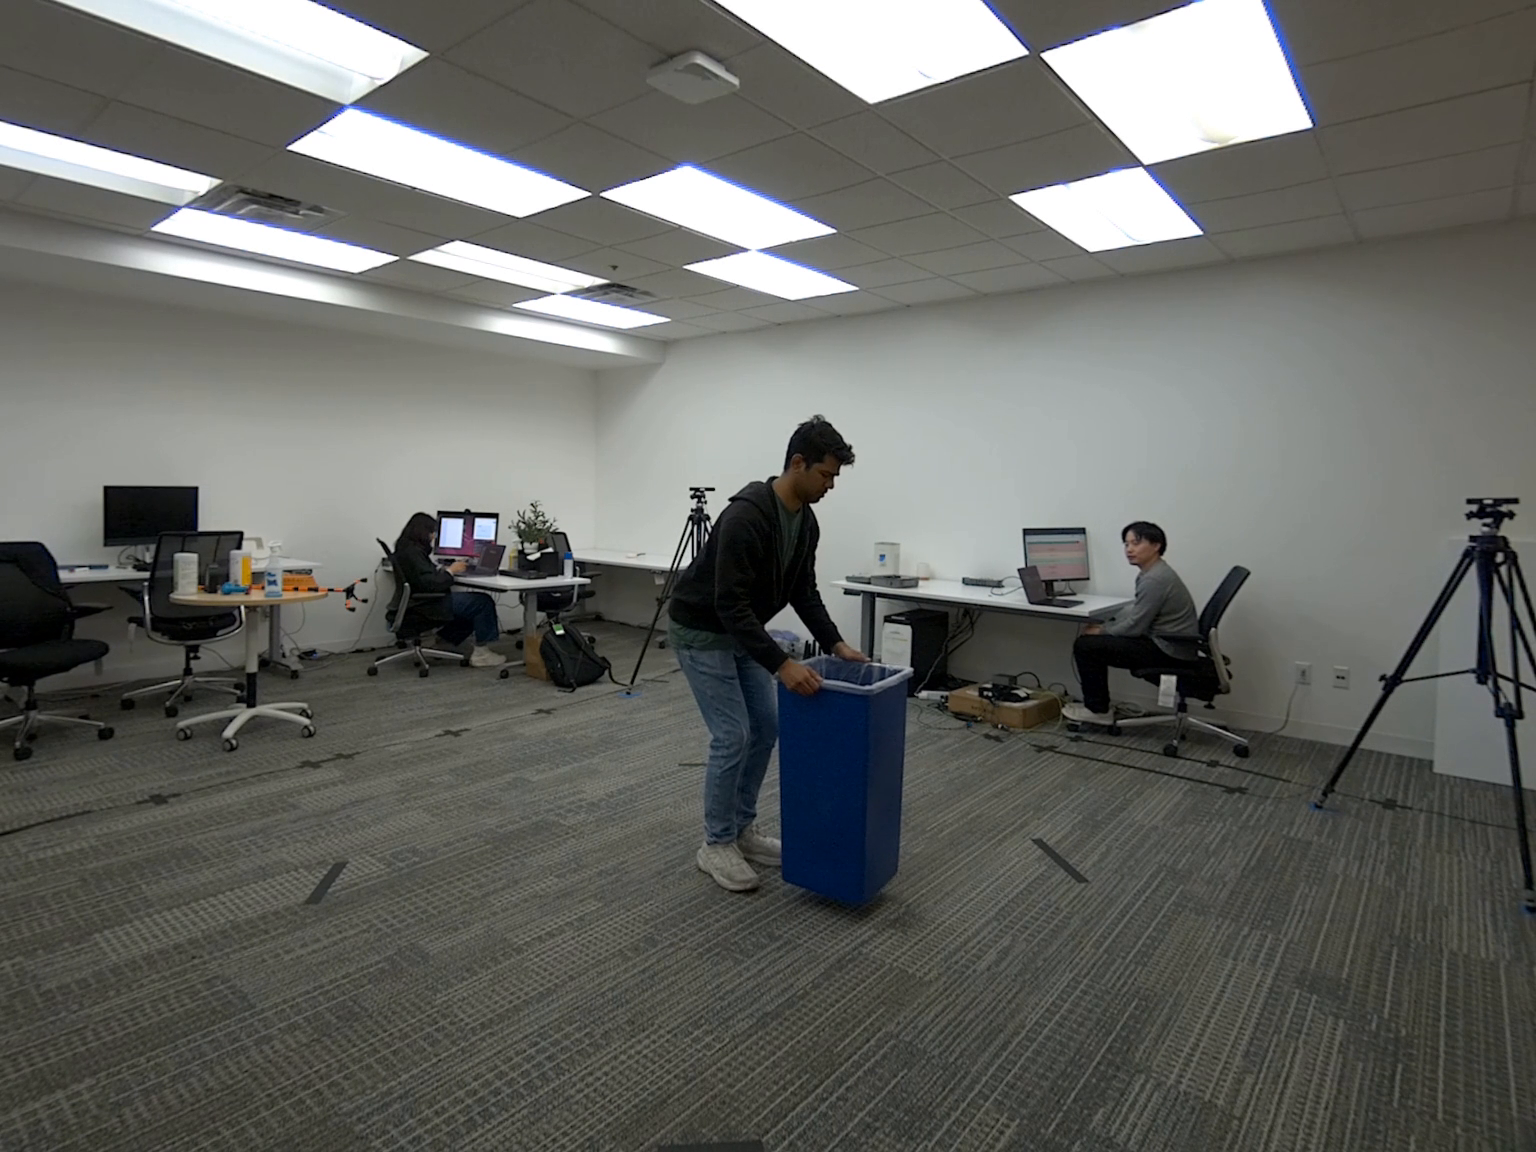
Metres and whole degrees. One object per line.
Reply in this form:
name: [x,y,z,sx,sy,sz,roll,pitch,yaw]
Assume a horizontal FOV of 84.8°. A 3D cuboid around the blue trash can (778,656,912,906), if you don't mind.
blue trash can: [0.241,0.669,2.881,0.389,0.711,0.364,3,4,32]
